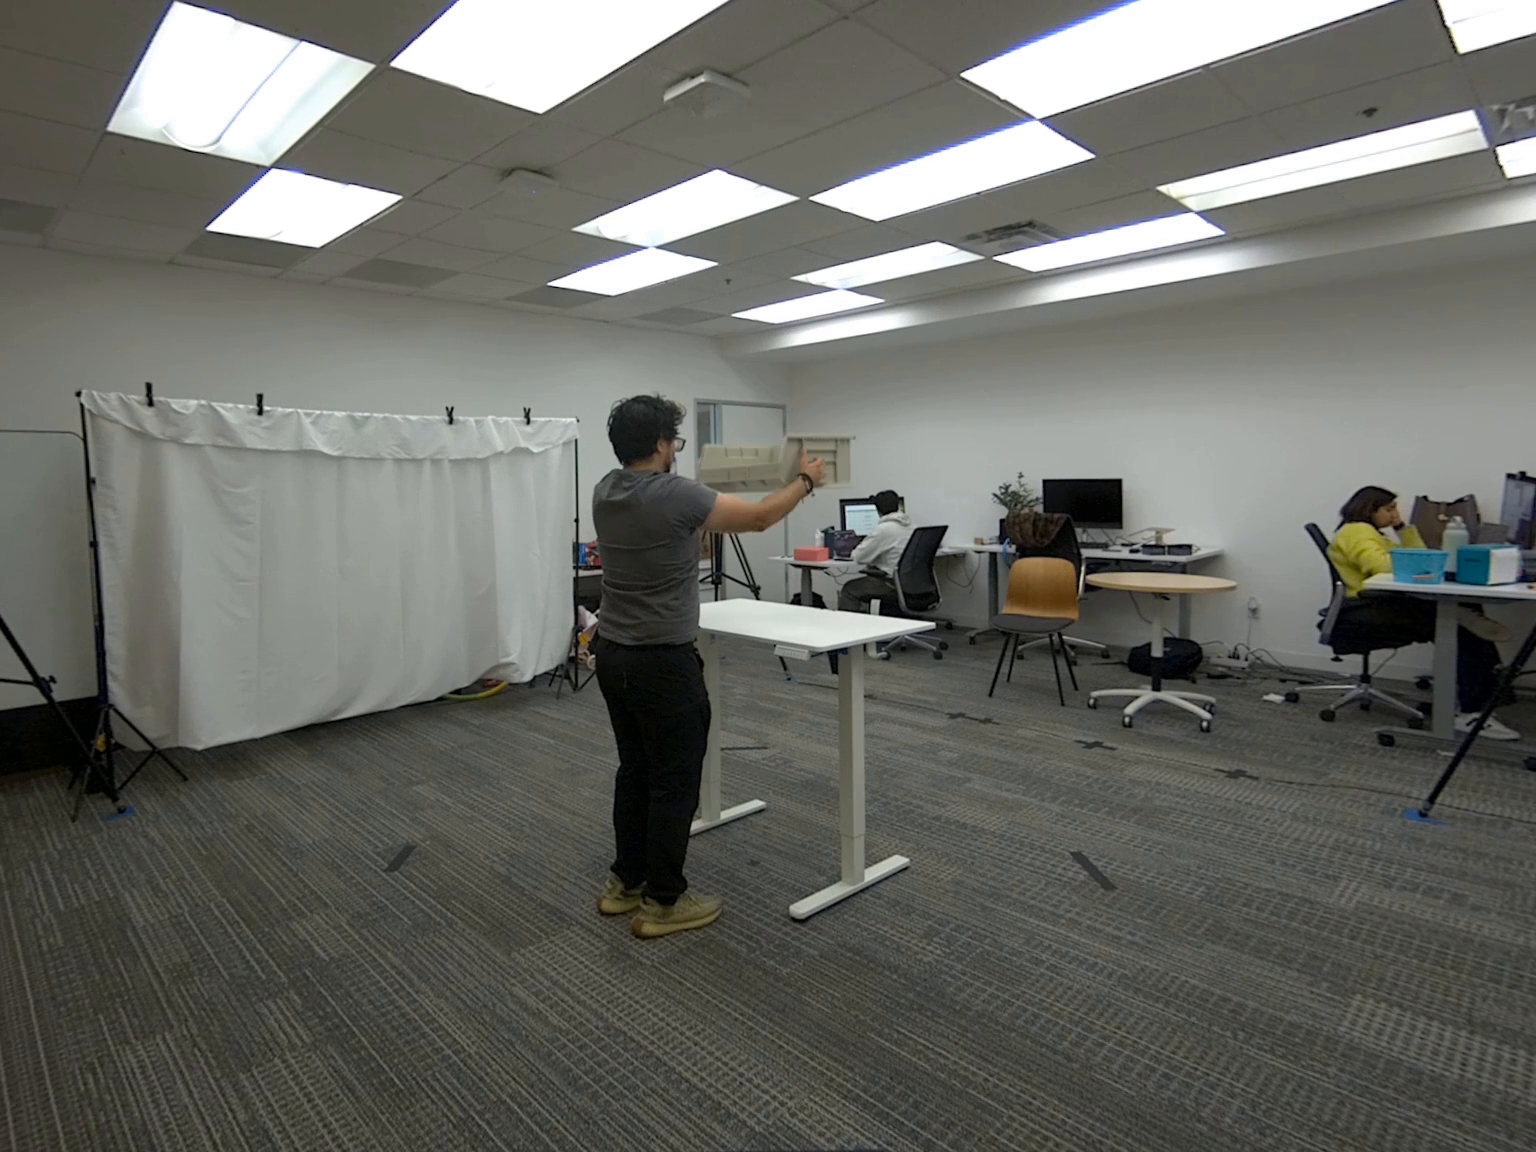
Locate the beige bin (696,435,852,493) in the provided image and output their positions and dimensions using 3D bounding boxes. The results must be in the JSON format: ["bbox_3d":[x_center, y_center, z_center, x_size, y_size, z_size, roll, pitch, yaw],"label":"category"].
[{"bbox_3d":[0.024,-0.393,3.009,0.367,0.188,0.435,-6,5,-42],"label":"beige bin"}]
